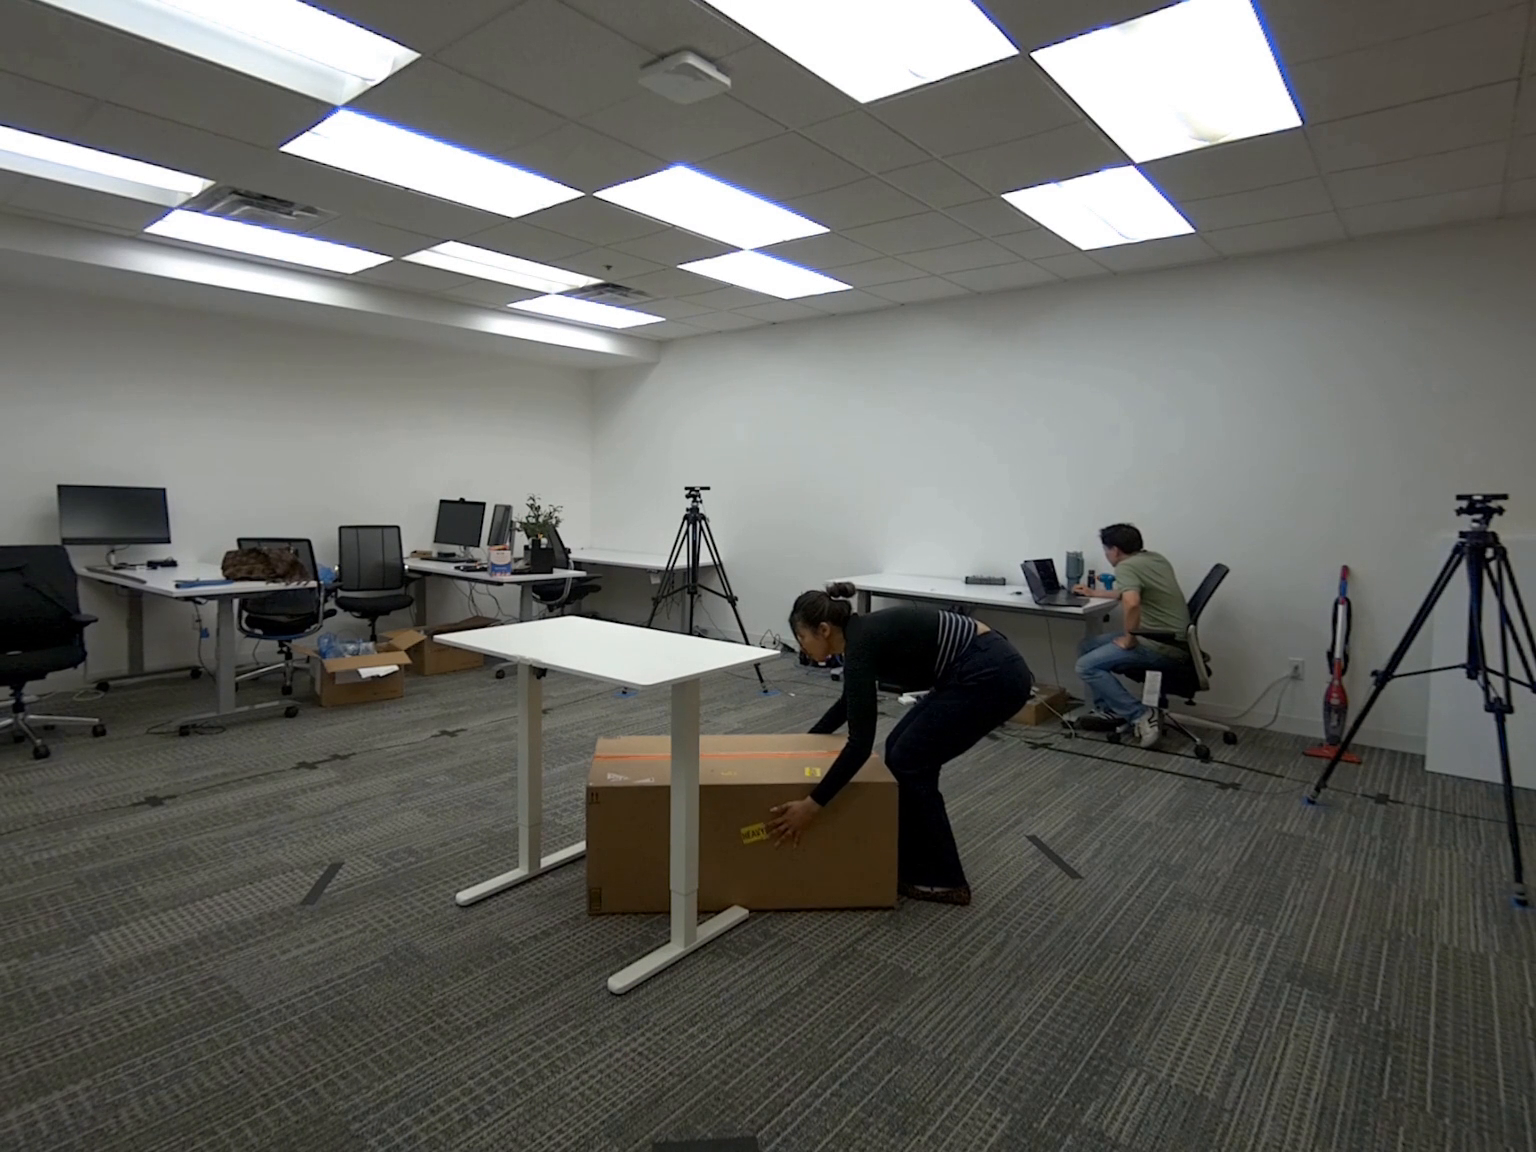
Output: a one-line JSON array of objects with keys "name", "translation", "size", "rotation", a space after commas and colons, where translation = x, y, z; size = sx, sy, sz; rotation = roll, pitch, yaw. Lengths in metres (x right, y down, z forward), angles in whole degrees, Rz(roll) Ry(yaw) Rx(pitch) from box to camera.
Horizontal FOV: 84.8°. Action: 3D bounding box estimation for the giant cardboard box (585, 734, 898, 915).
[{"name": "giant cardboard box", "translation": [-0.123, 0.842, 3.049], "size": [1.021, 0.424, 0.583], "rotation": [0, 5, -5]}]
